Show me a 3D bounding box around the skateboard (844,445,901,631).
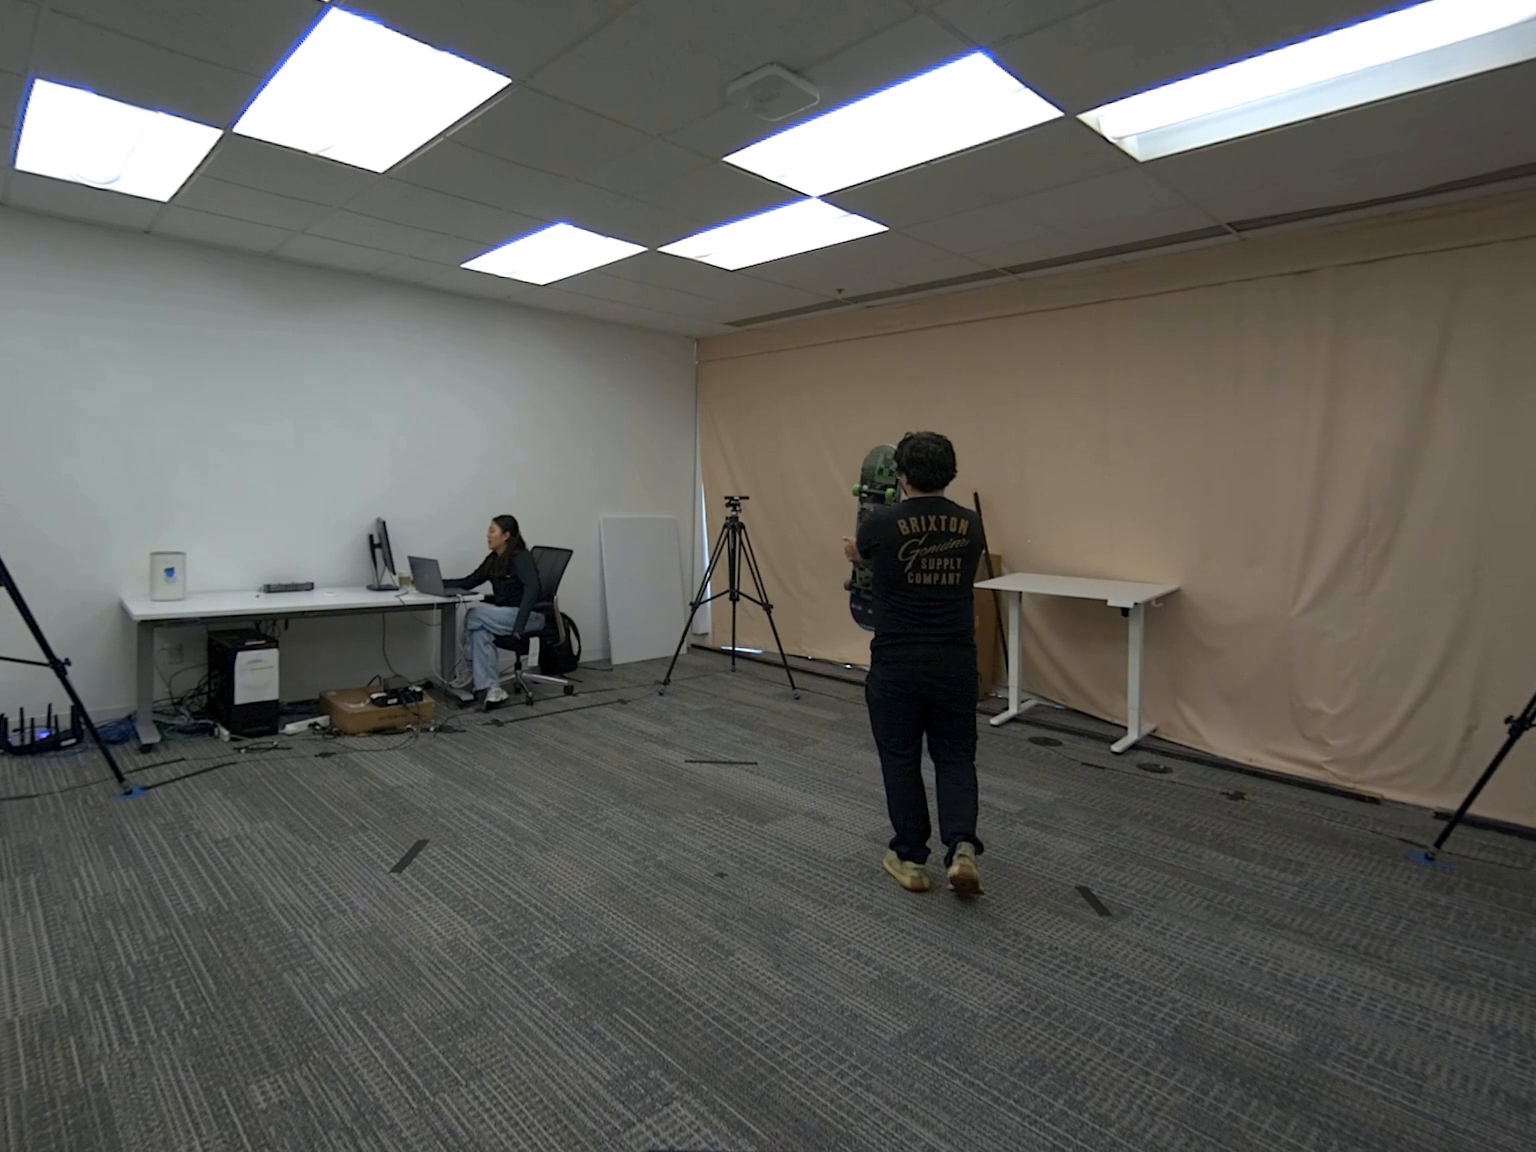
[{"bbox_3d":[0.430,-0.140,3.478,0.198,0.780,0.108,11,12,34],"label":"skateboard"}]
